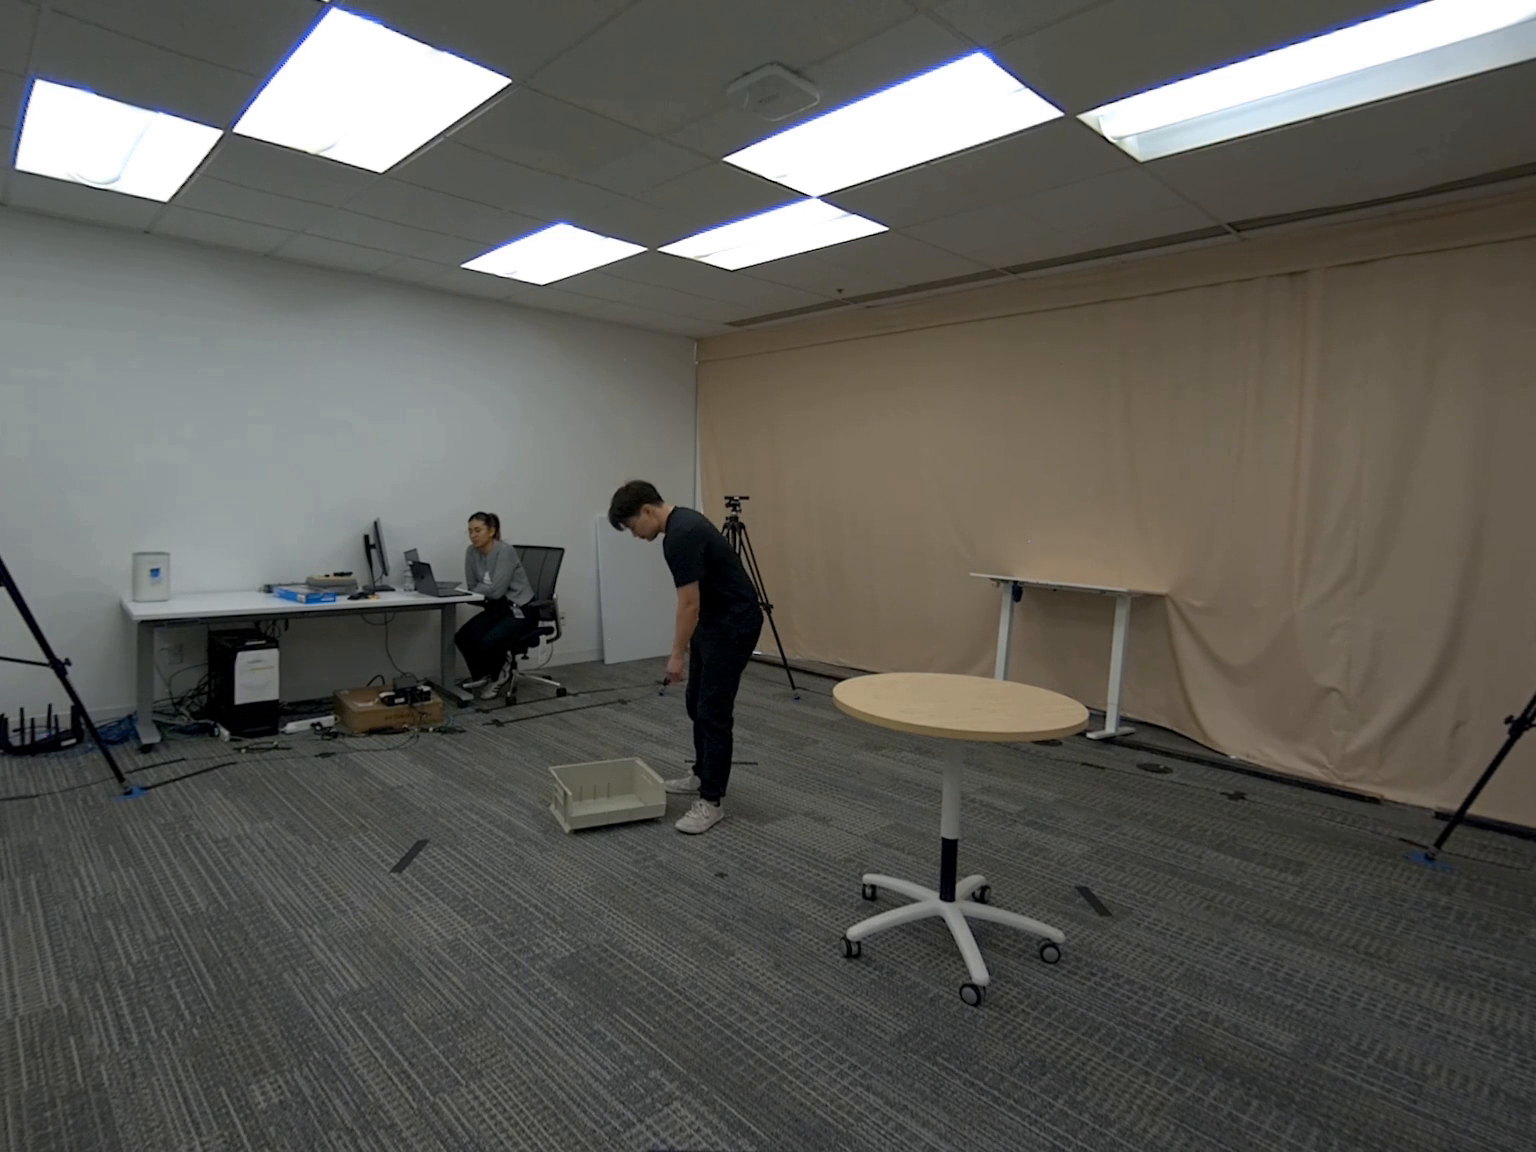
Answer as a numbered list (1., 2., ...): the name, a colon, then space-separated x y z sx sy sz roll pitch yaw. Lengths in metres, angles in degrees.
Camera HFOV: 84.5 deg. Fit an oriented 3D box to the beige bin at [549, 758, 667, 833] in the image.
1. beige bin: -0.708 0.951 3.656 0.415 0.188 0.385 -2 5 -26
